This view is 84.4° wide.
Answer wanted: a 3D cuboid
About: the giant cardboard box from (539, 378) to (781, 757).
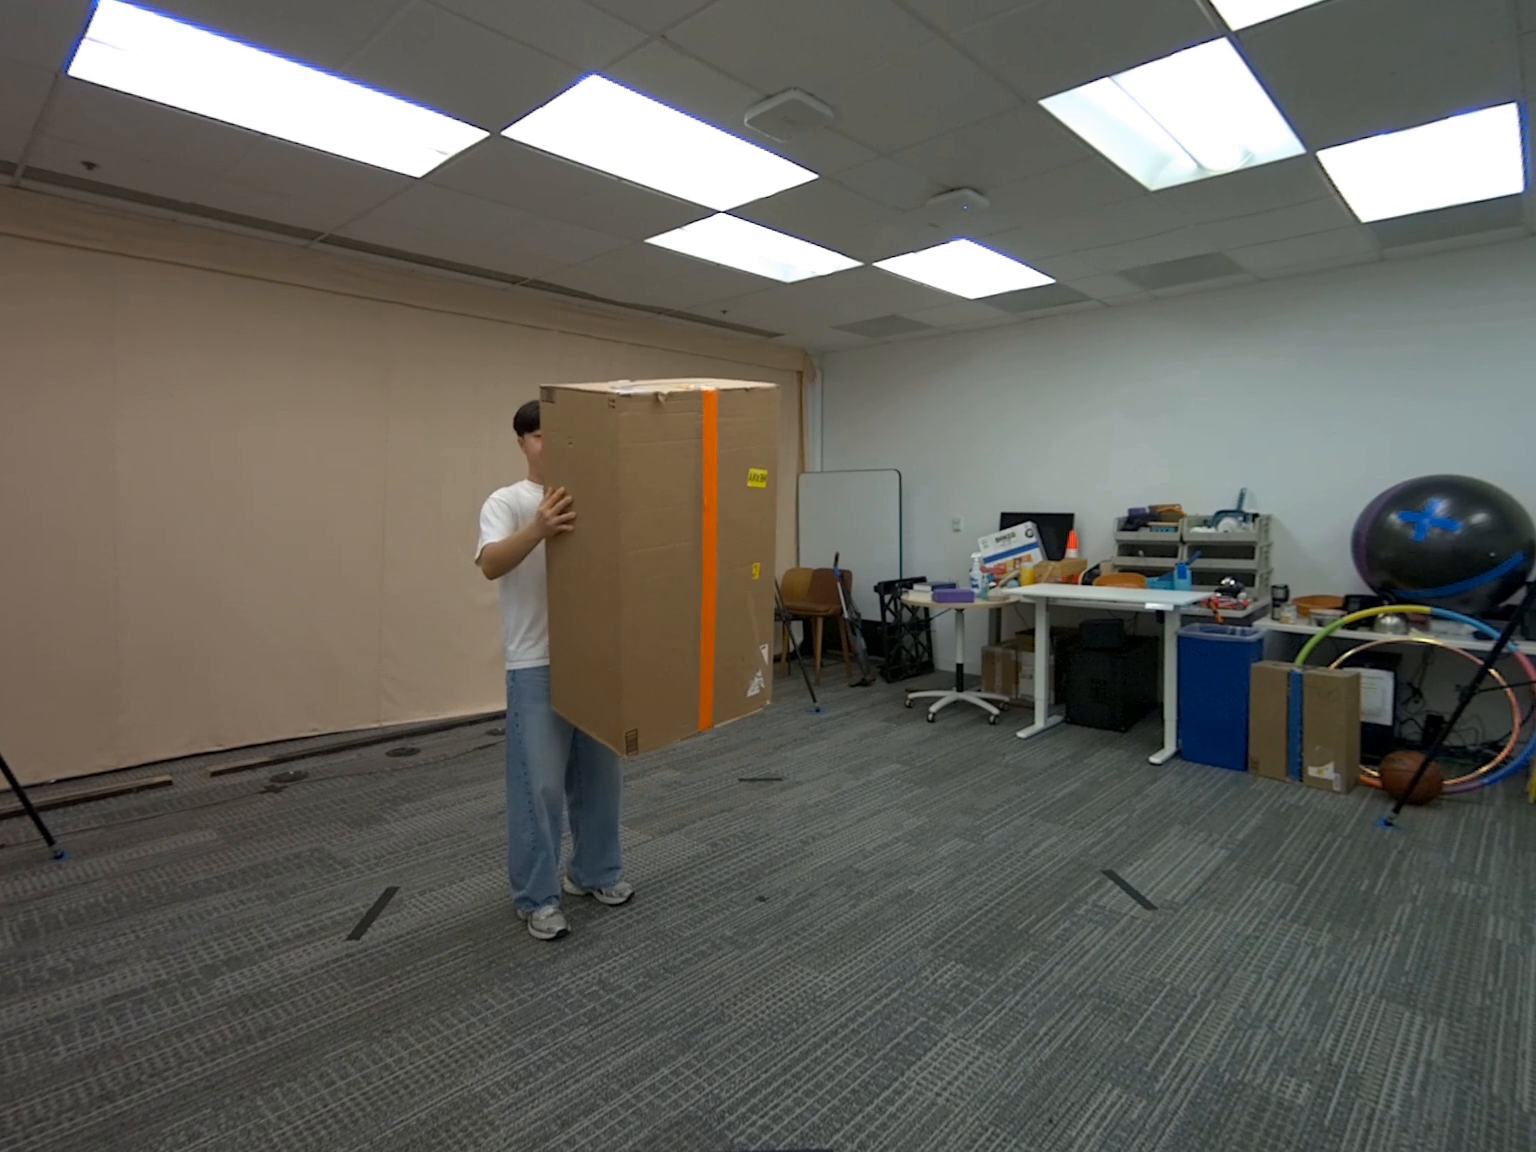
[{"bbox_3d":[-0.325,-0.064,2.566,0.562,1.017,0.442,-11,19,-41],"label":"giant cardboard box"}]
